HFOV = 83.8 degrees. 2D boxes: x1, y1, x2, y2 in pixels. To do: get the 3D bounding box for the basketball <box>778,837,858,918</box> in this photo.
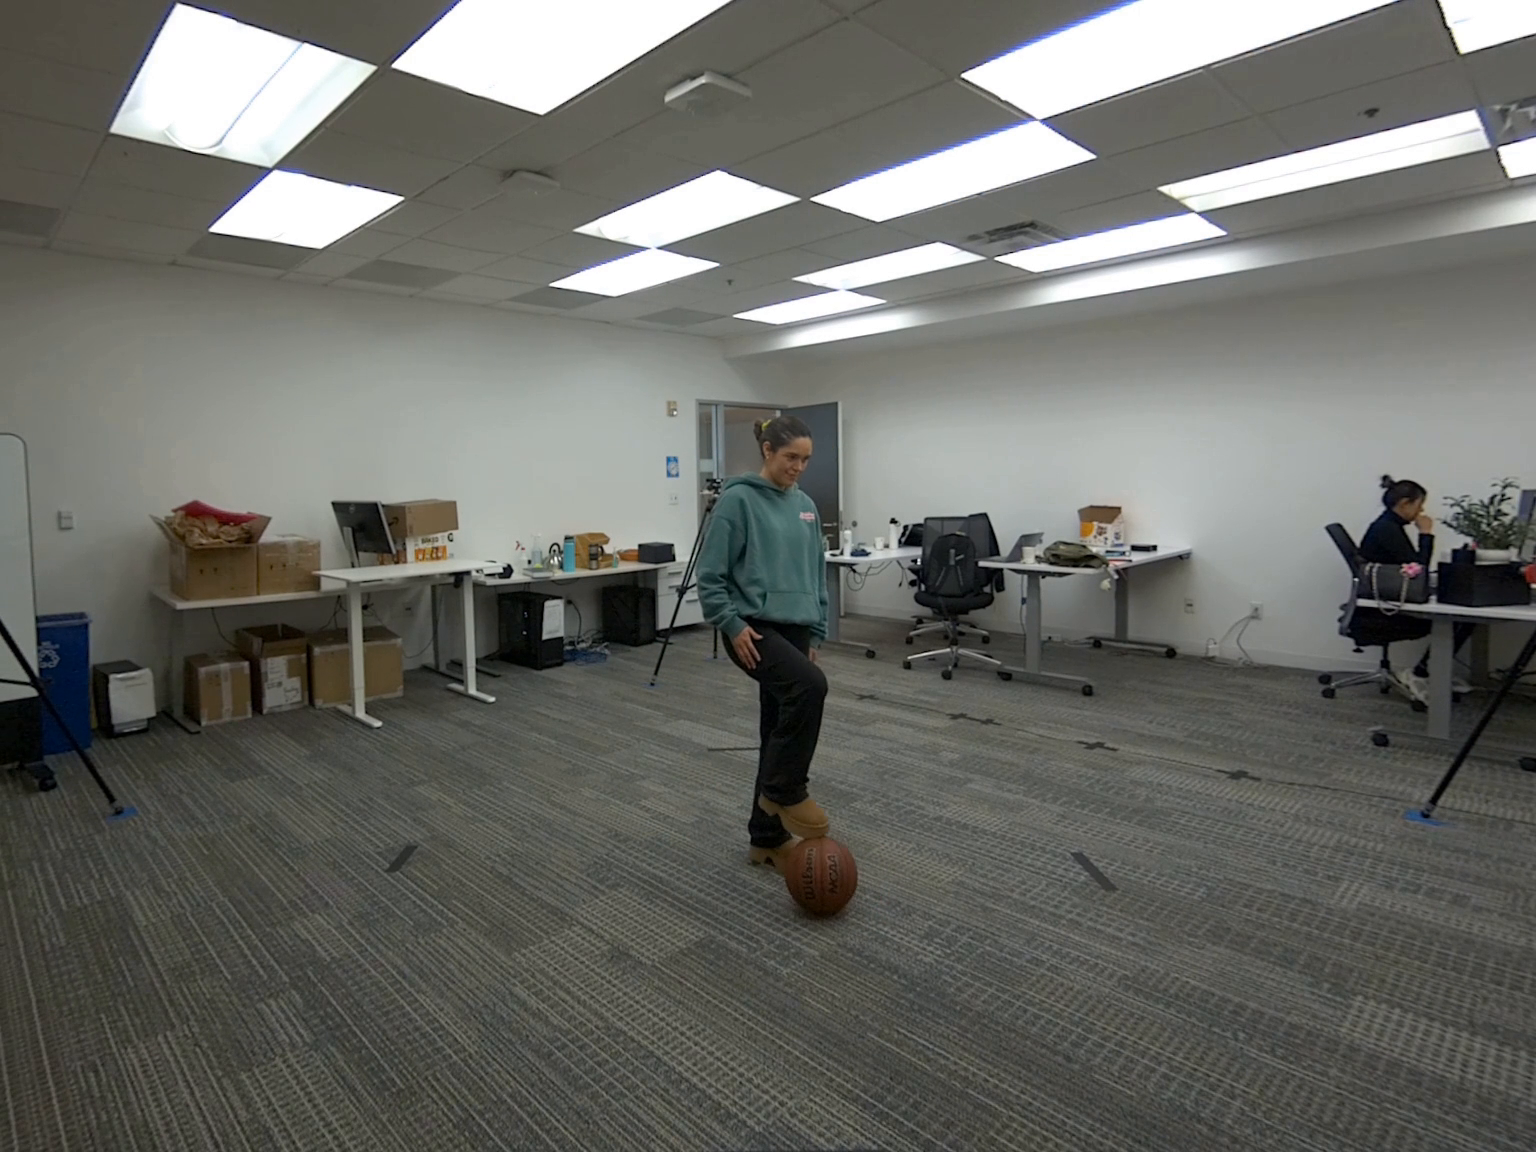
[{"bbox_3d":[0.181,0.962,2.752,0.236,0.235,0.237,-1,5,-2],"label":"basketball"}]
